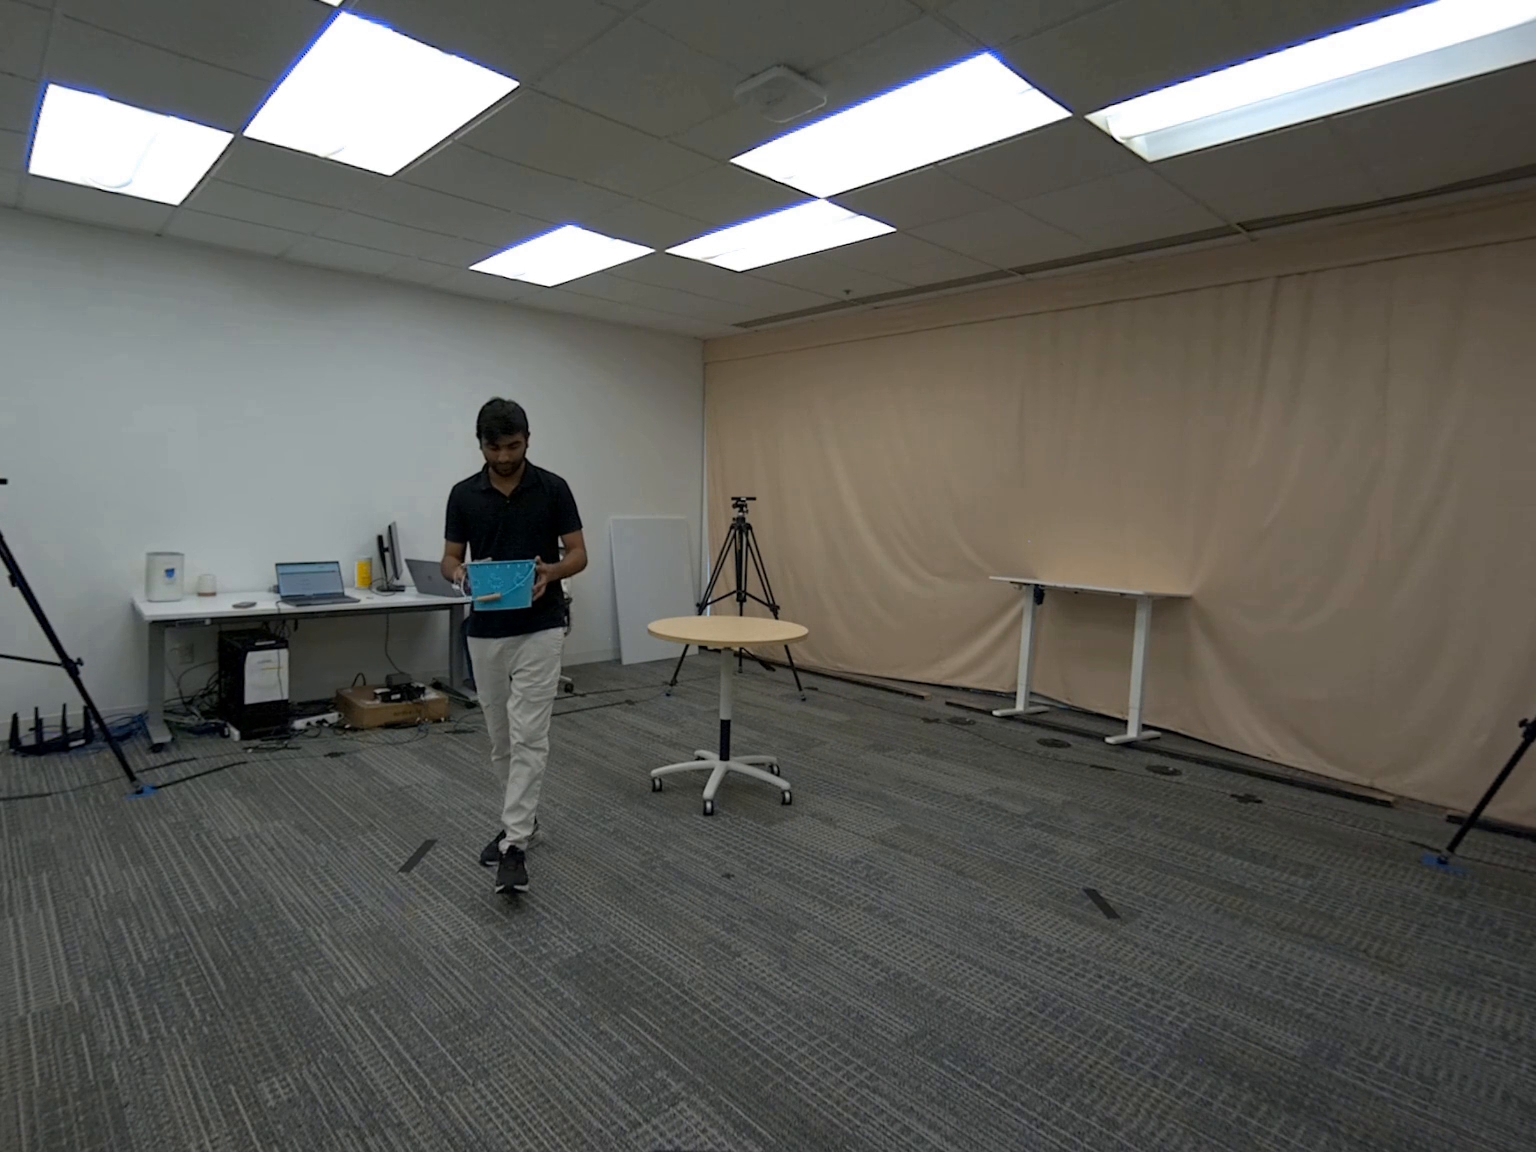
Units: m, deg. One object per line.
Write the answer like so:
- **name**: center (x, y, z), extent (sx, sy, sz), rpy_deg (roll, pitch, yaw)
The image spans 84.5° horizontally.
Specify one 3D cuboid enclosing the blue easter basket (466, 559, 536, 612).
- **blue easter basket**: center (-0.896, 0.031, 2.741), extent (0.243, 0.156, 0.243), rpy_deg (-1, 0, -1)
